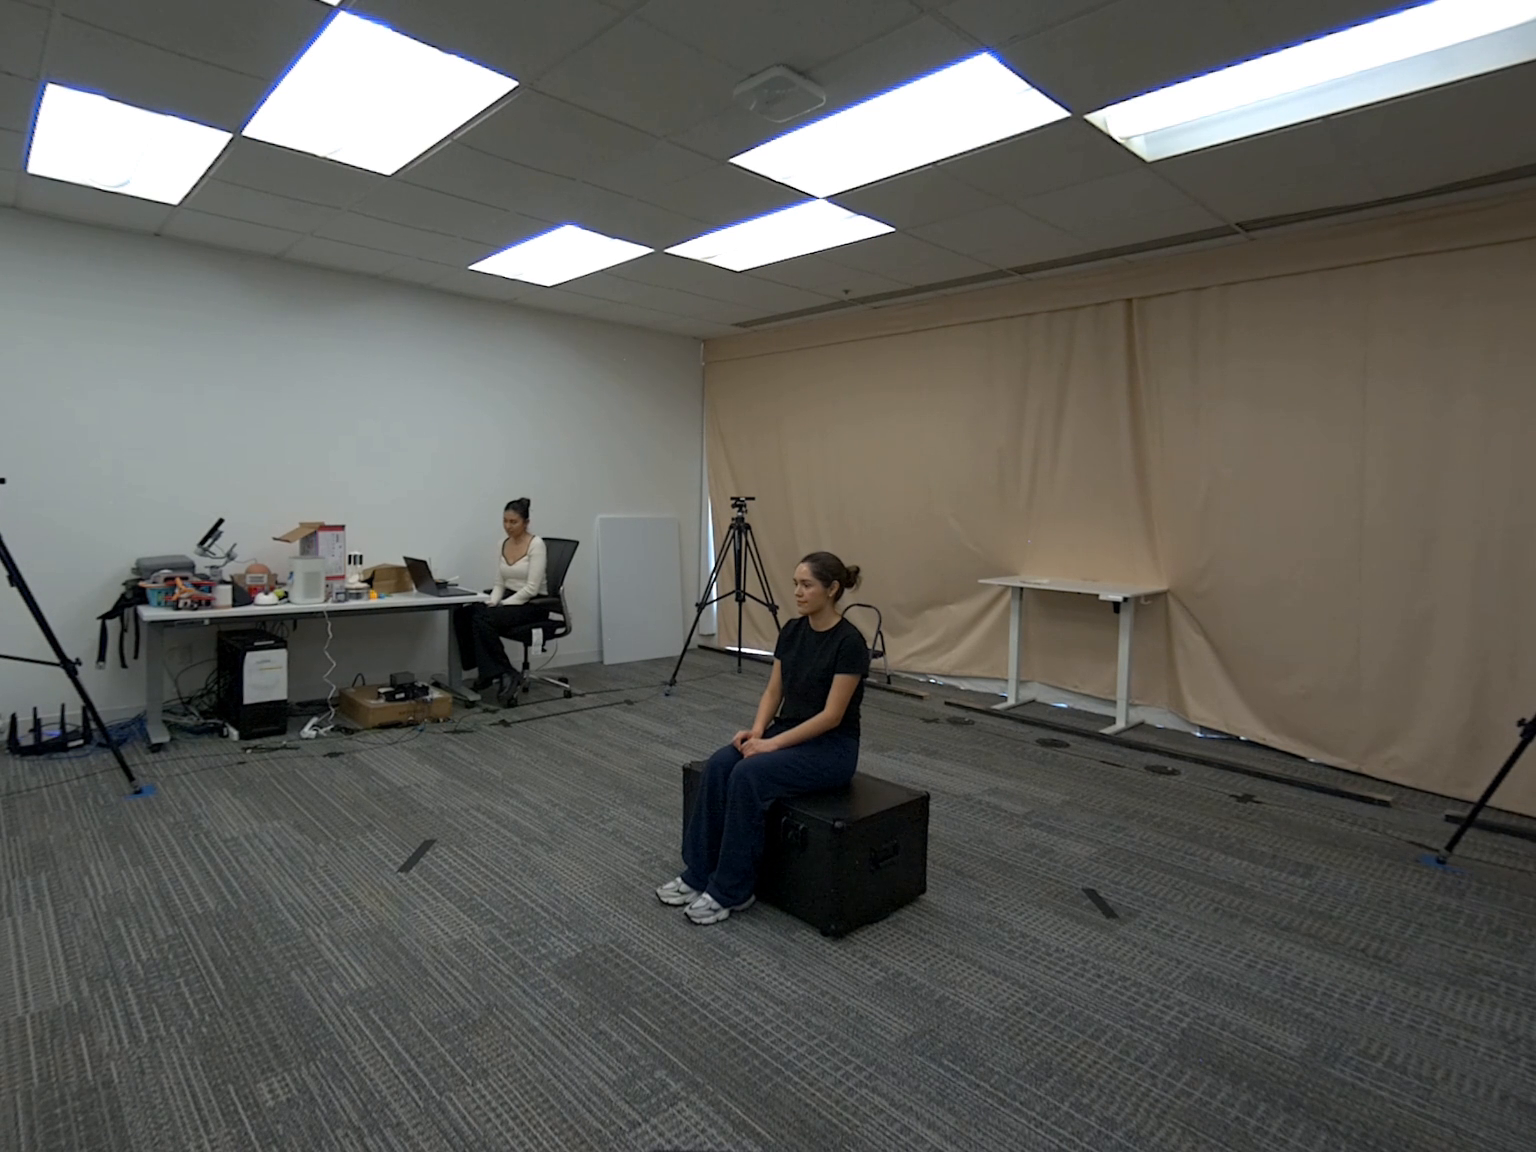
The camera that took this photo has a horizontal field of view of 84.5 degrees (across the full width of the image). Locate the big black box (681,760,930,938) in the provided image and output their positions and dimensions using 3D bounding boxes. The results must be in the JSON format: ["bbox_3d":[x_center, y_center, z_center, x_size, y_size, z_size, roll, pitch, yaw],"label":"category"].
[{"bbox_3d":[0.094,0.926,3.088,0.509,0.395,0.884,-2,6,-44],"label":"big black box"}]
